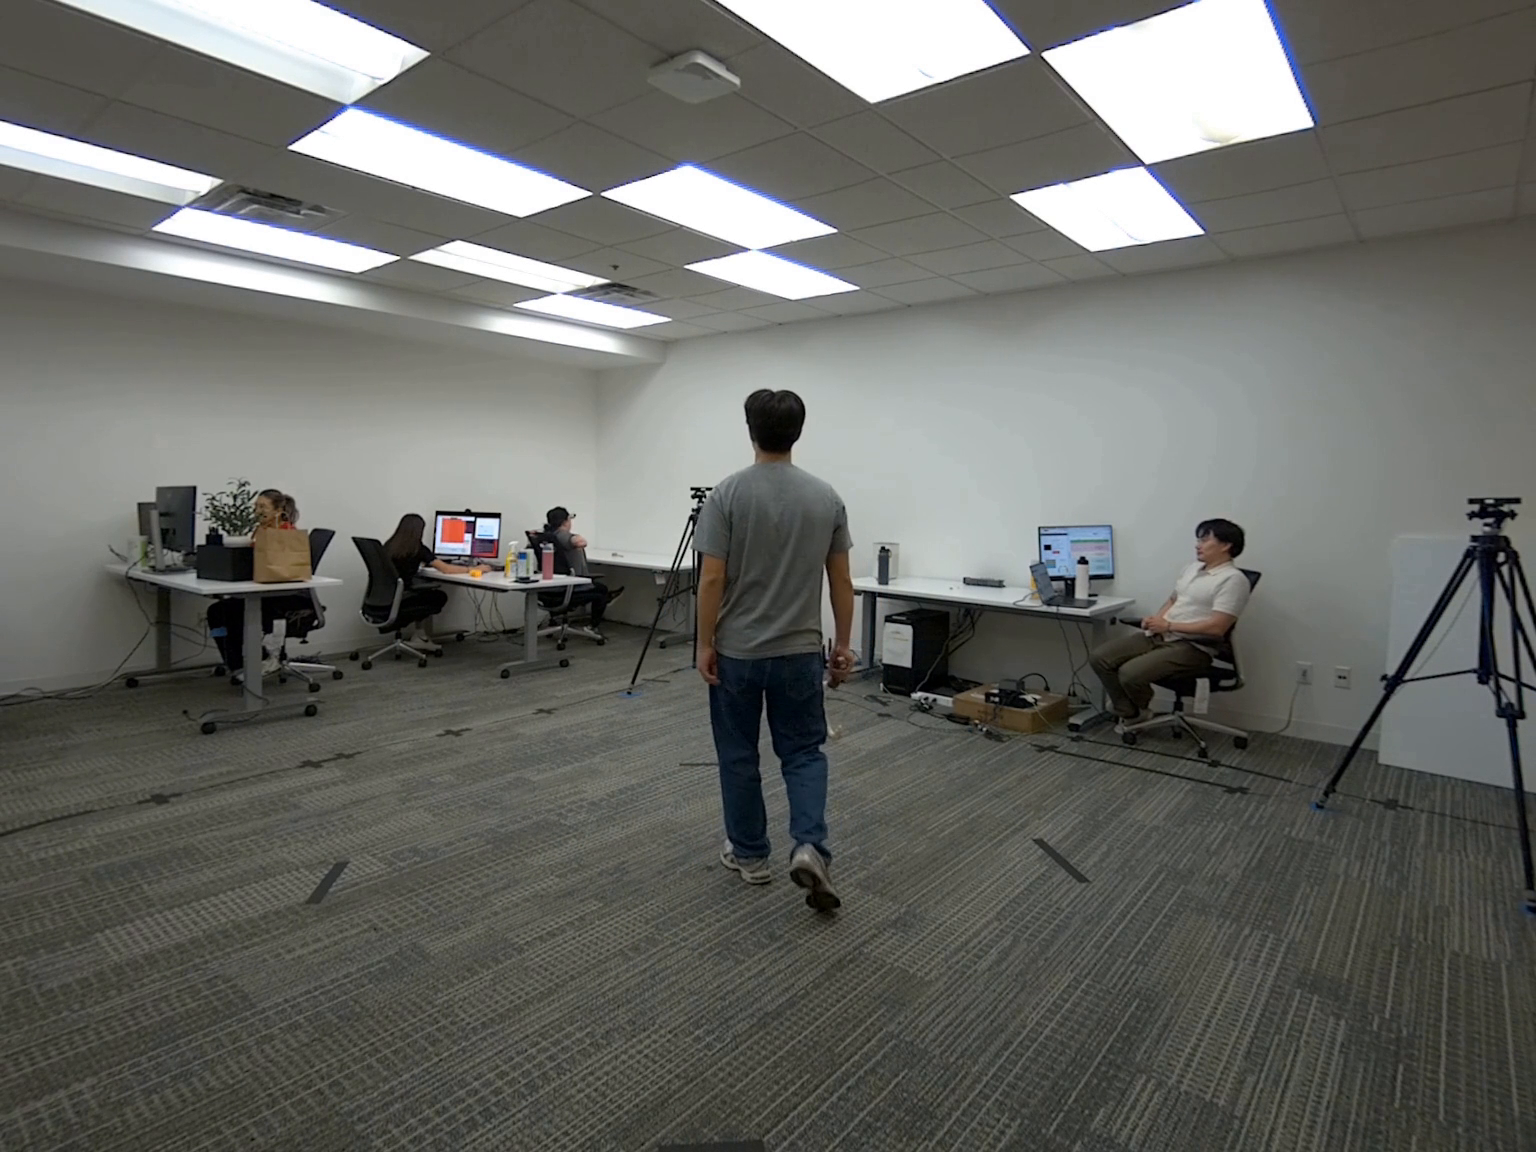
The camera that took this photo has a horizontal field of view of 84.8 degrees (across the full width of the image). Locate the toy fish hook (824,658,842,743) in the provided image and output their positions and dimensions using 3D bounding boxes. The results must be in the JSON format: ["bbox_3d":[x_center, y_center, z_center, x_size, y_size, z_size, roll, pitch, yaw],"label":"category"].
[{"bbox_3d":[0.233,0.450,3.176,0.048,0.232,0.495,-17,-26,-13],"label":"toy fish hook"}]
